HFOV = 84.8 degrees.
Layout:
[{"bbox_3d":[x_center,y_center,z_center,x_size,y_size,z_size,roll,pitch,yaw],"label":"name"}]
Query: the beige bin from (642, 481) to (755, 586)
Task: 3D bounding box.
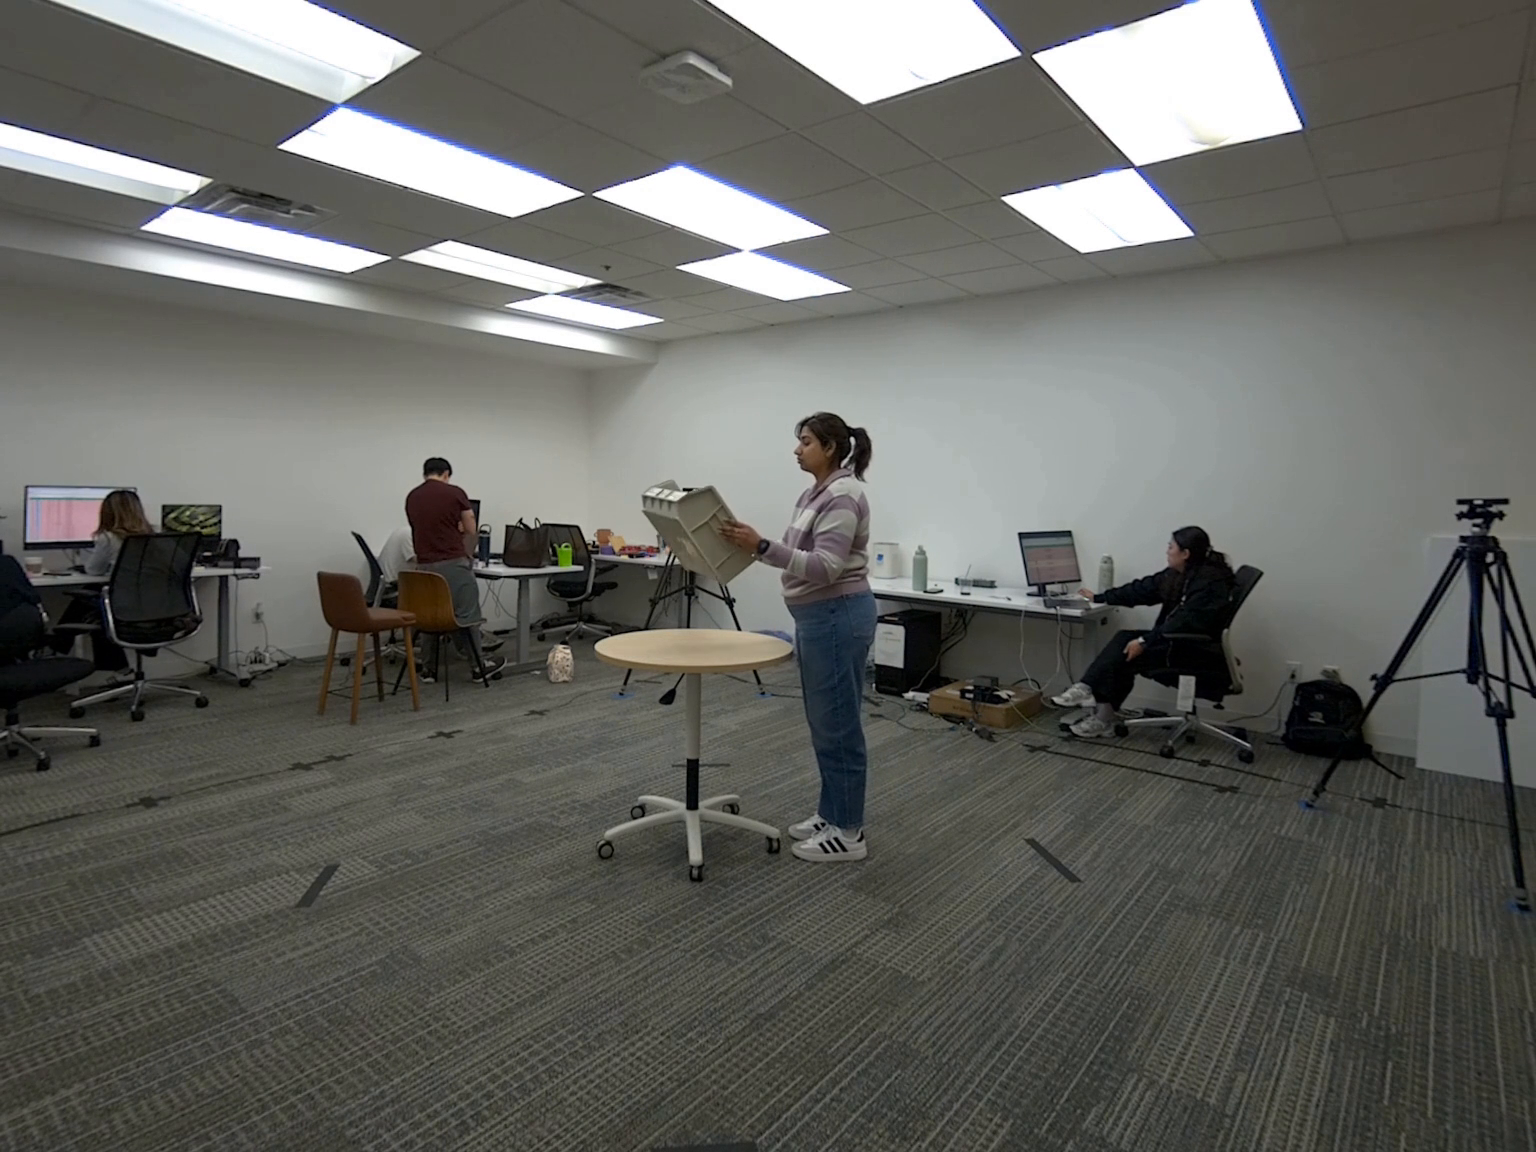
[{"bbox_3d":[-0.284,-0.179,3.230,0.188,0.367,0.435,-41,22,-16],"label":"beige bin"}]
